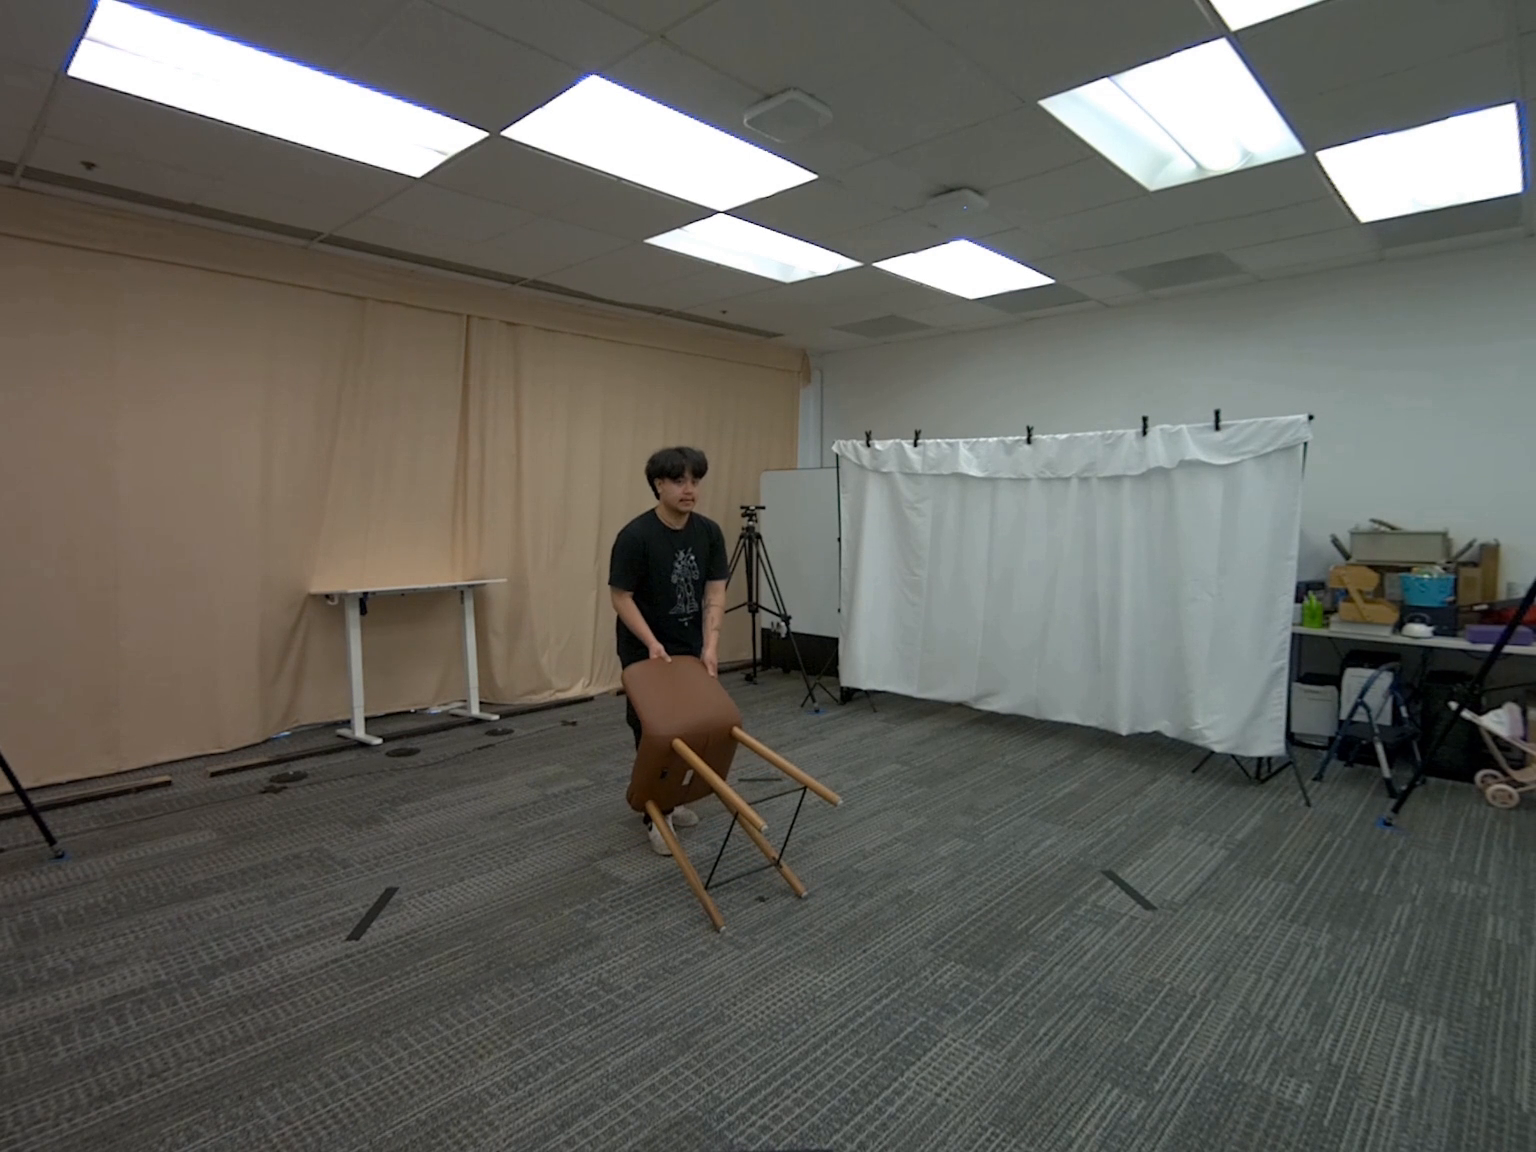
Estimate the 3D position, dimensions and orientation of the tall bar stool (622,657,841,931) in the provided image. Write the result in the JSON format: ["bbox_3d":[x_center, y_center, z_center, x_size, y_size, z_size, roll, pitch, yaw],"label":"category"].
[{"bbox_3d":[-0.205,0.738,3.079,0.443,0.465,0.922,-5,33,-42],"label":"tall bar stool"}]
